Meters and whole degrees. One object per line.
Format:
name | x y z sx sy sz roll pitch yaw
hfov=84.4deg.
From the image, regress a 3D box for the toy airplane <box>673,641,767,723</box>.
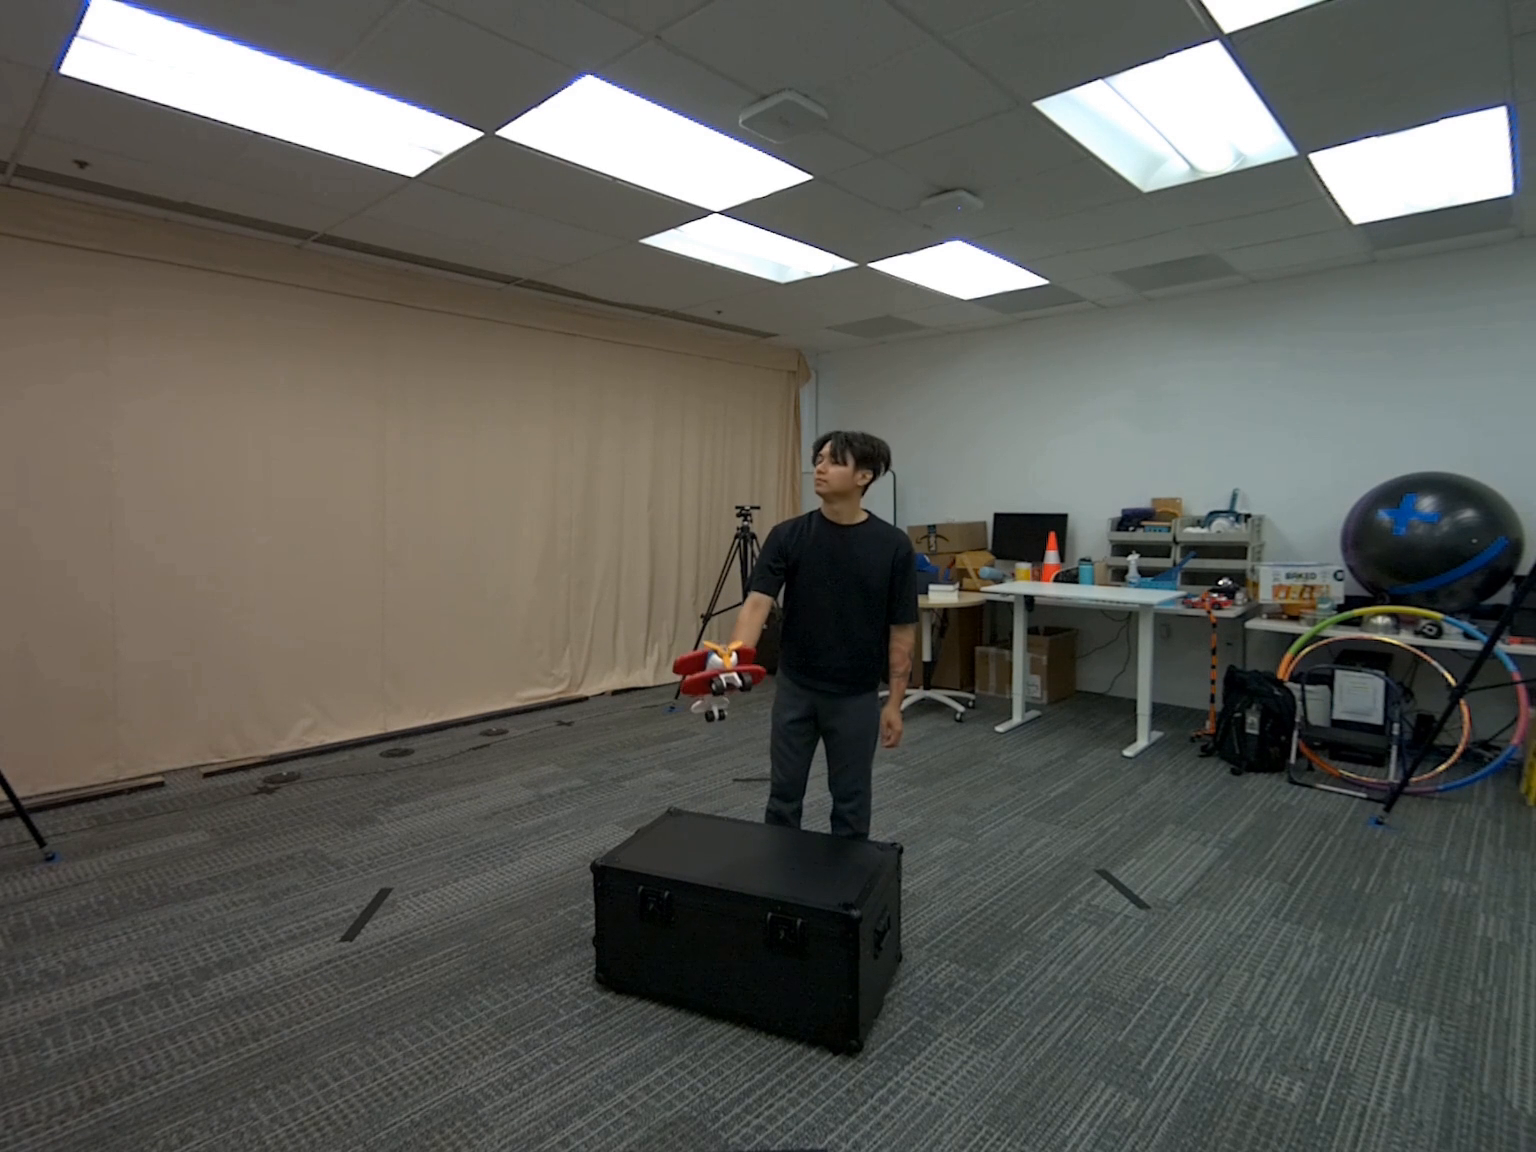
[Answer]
toy airplane | -0.158 0.303 2.431 0.262 0.160 0.242 -38 -35 30
